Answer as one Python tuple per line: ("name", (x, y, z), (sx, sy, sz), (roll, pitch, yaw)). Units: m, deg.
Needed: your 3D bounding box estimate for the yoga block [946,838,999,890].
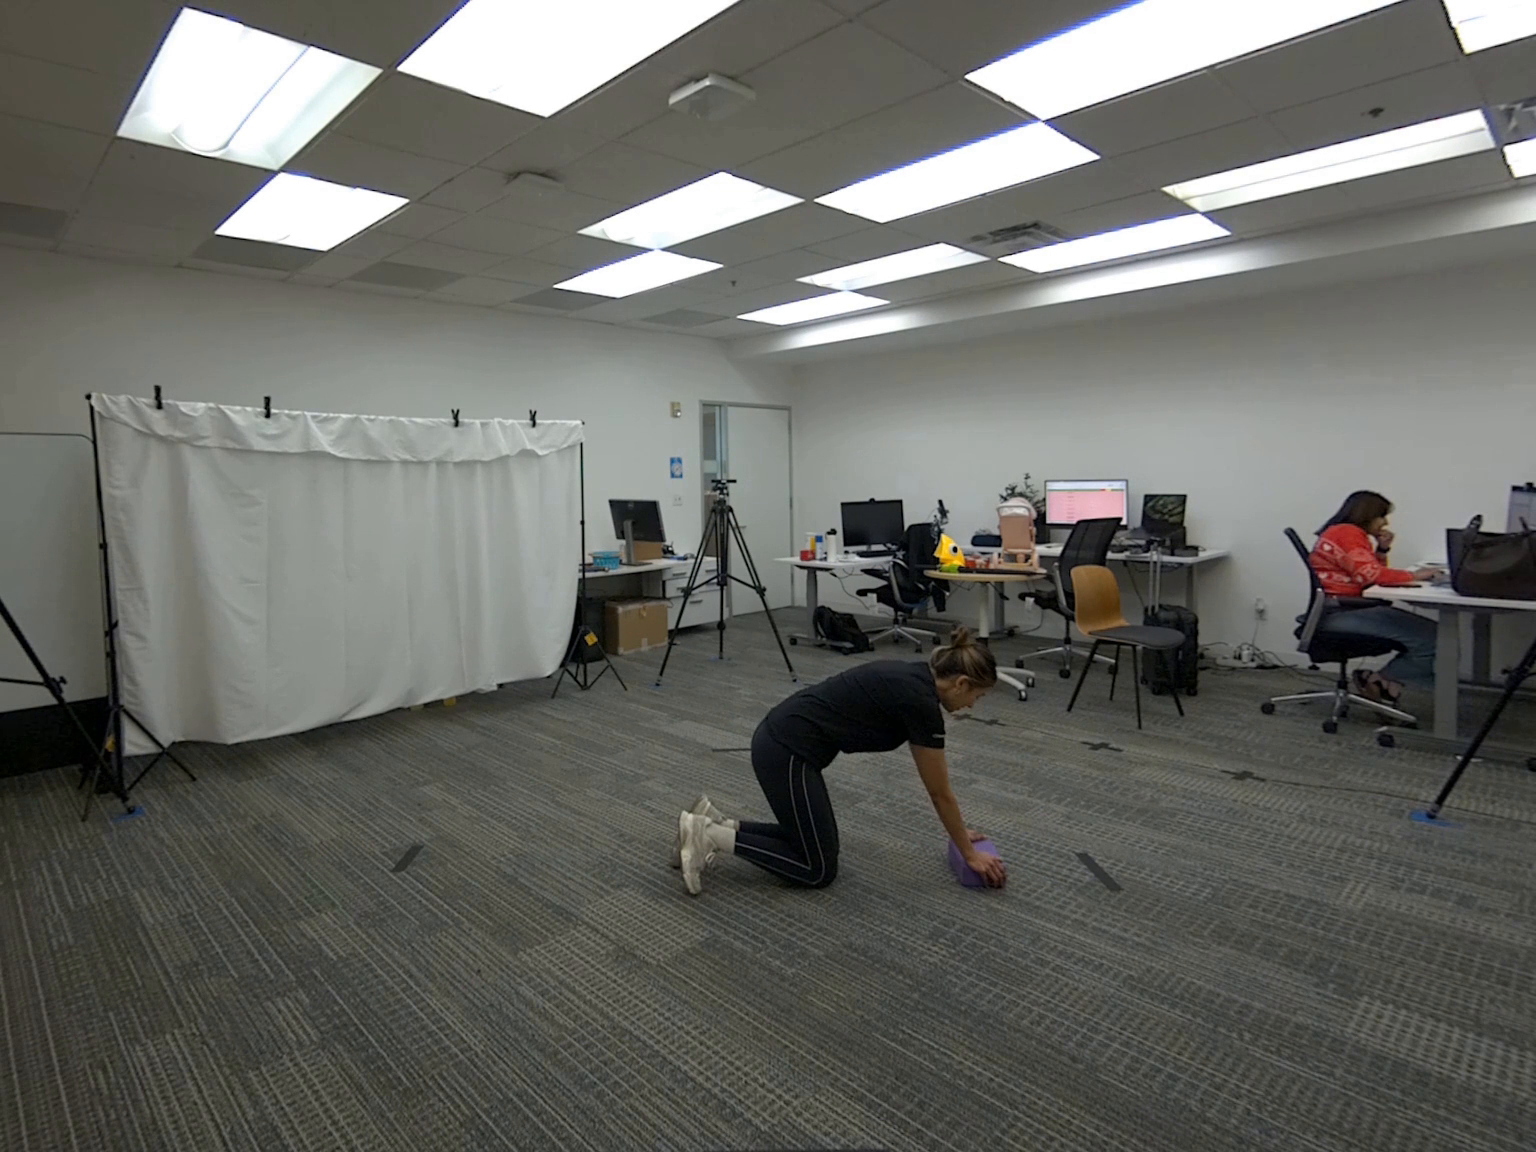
("yoga block", (0.730, 1.002, 3.000), (0.149, 0.076, 0.230), (-1, 7, 1))
